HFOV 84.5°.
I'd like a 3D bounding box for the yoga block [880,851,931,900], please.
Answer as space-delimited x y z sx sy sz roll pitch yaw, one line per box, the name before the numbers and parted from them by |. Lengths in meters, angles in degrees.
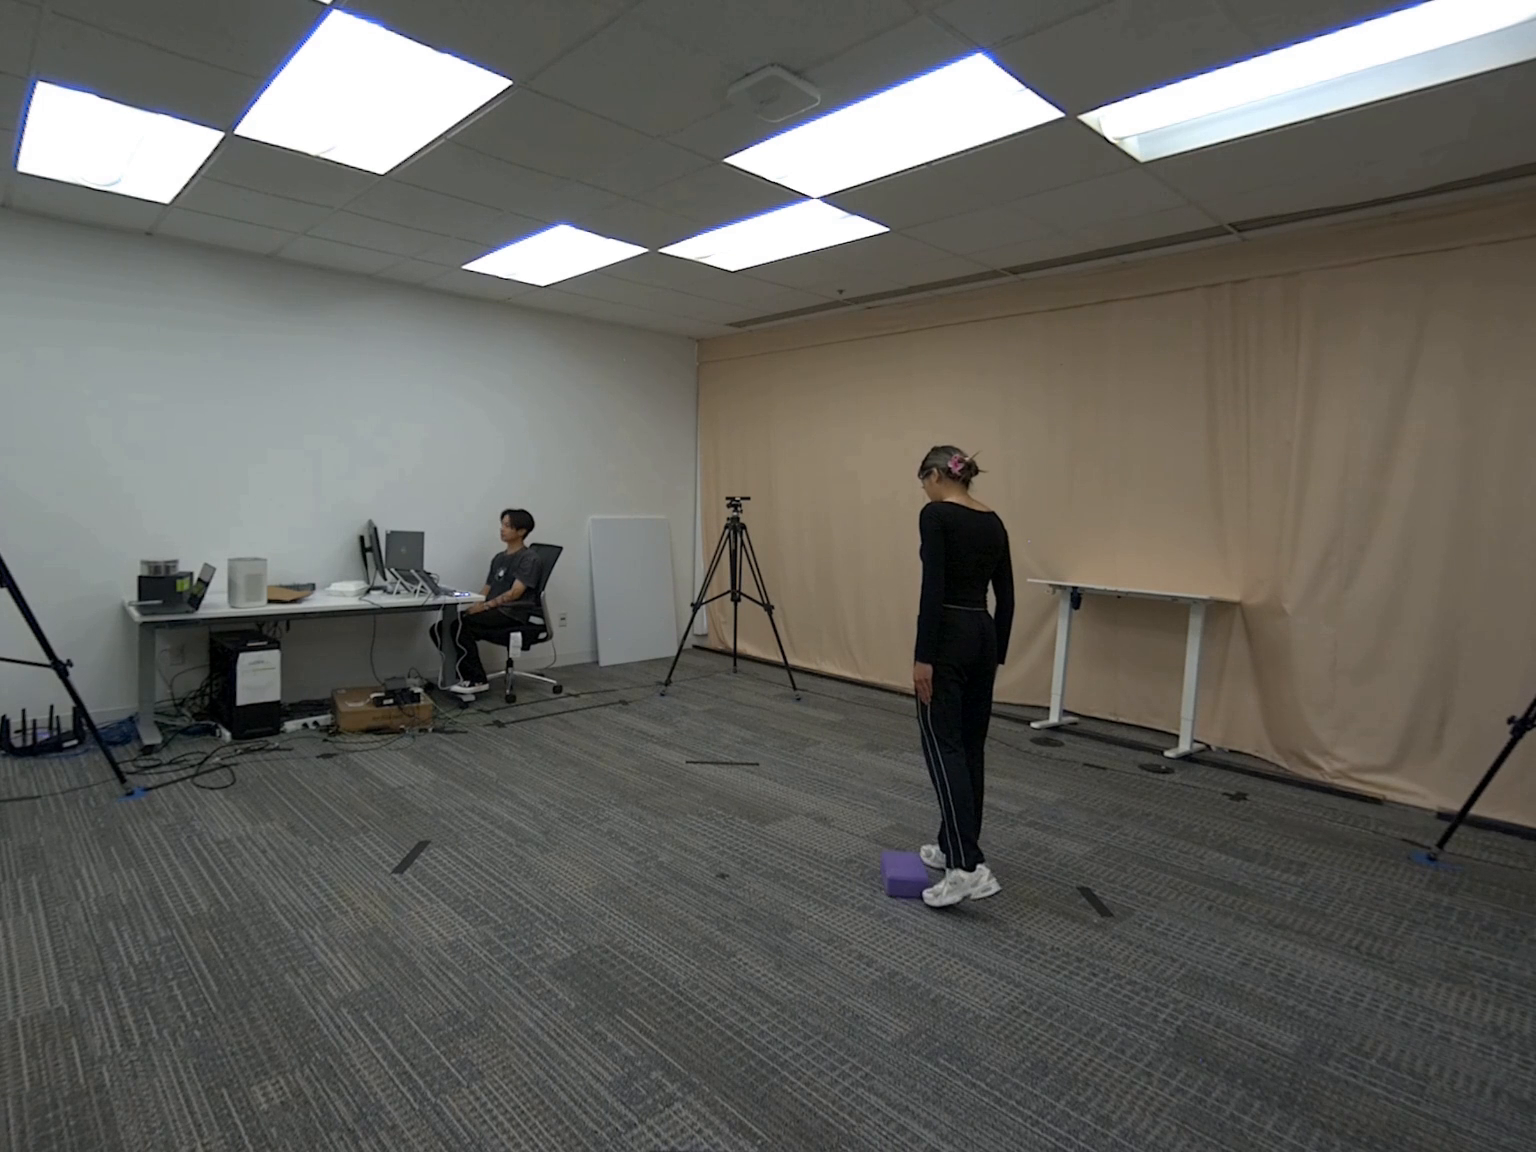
yoga block | 0.490 1.080 3.074 0.150 0.076 0.229 2 6 5
